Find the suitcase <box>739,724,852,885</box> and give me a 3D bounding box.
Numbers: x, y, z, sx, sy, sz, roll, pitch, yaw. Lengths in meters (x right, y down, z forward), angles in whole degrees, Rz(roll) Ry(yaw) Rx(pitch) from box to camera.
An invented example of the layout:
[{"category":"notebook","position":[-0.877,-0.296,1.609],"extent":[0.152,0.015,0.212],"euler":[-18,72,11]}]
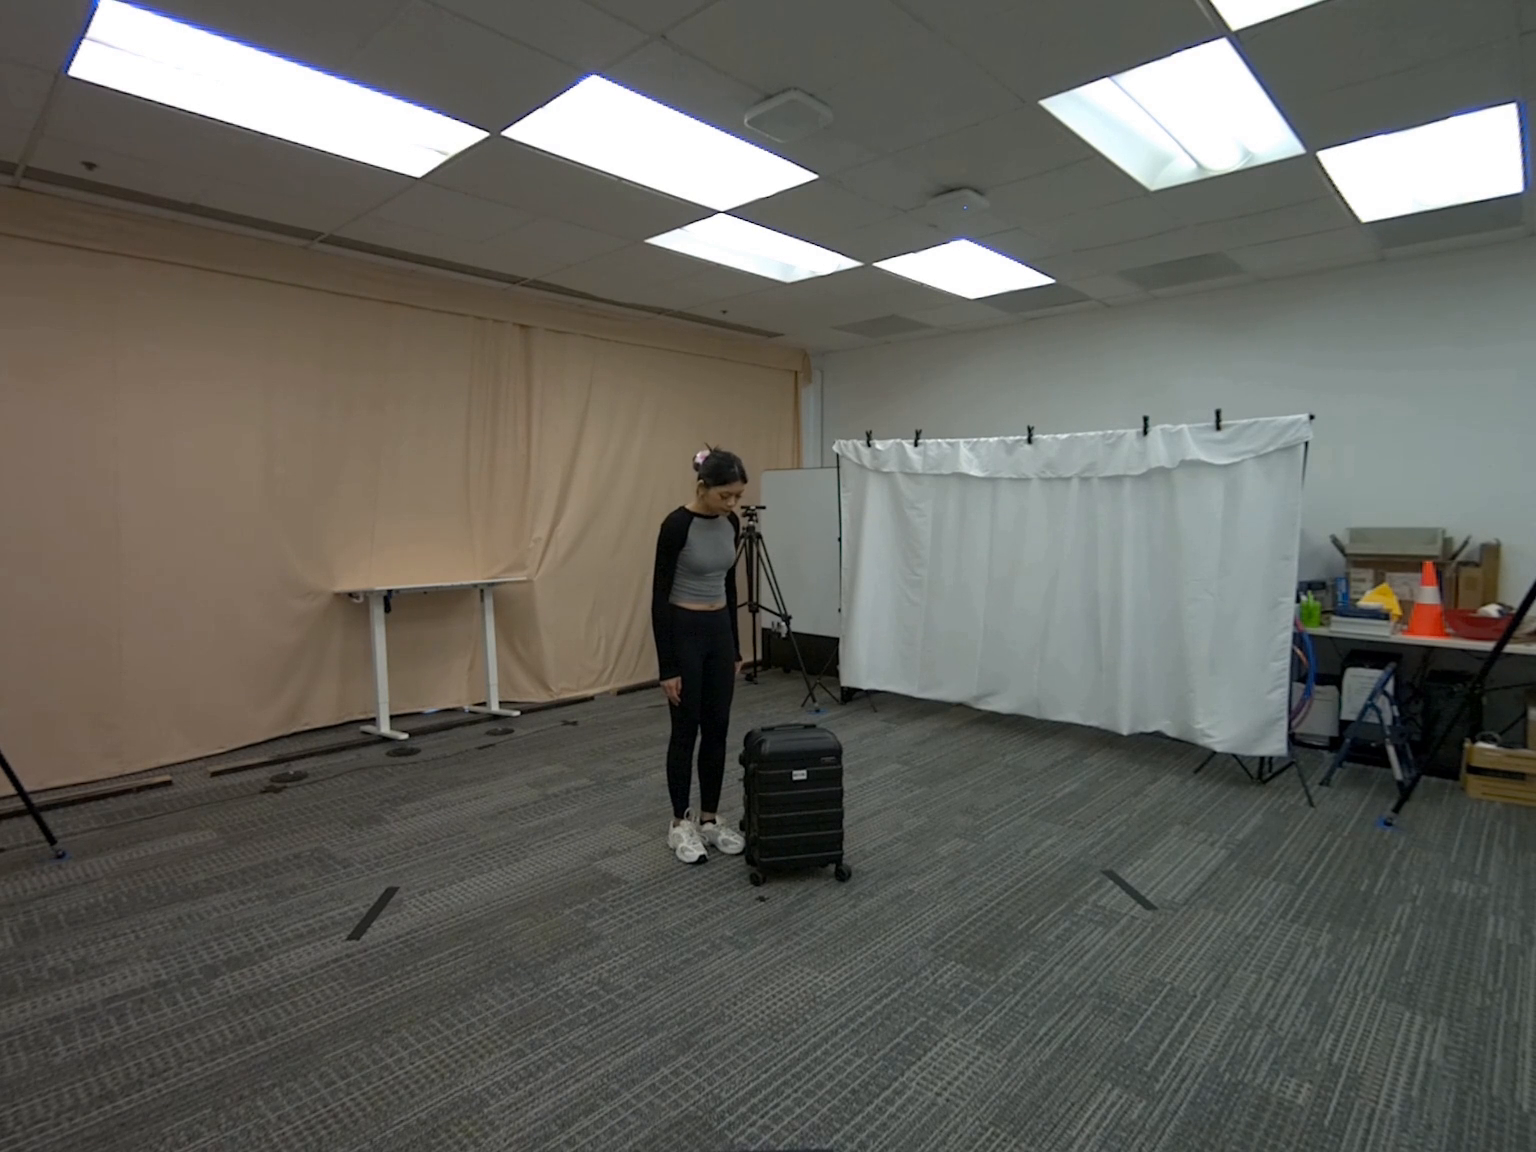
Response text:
[{"category":"suitcase","position":[0.097,0.845,3.193],"extent":[0.371,0.548,0.252],"euler":[-1,4,-13]}]
